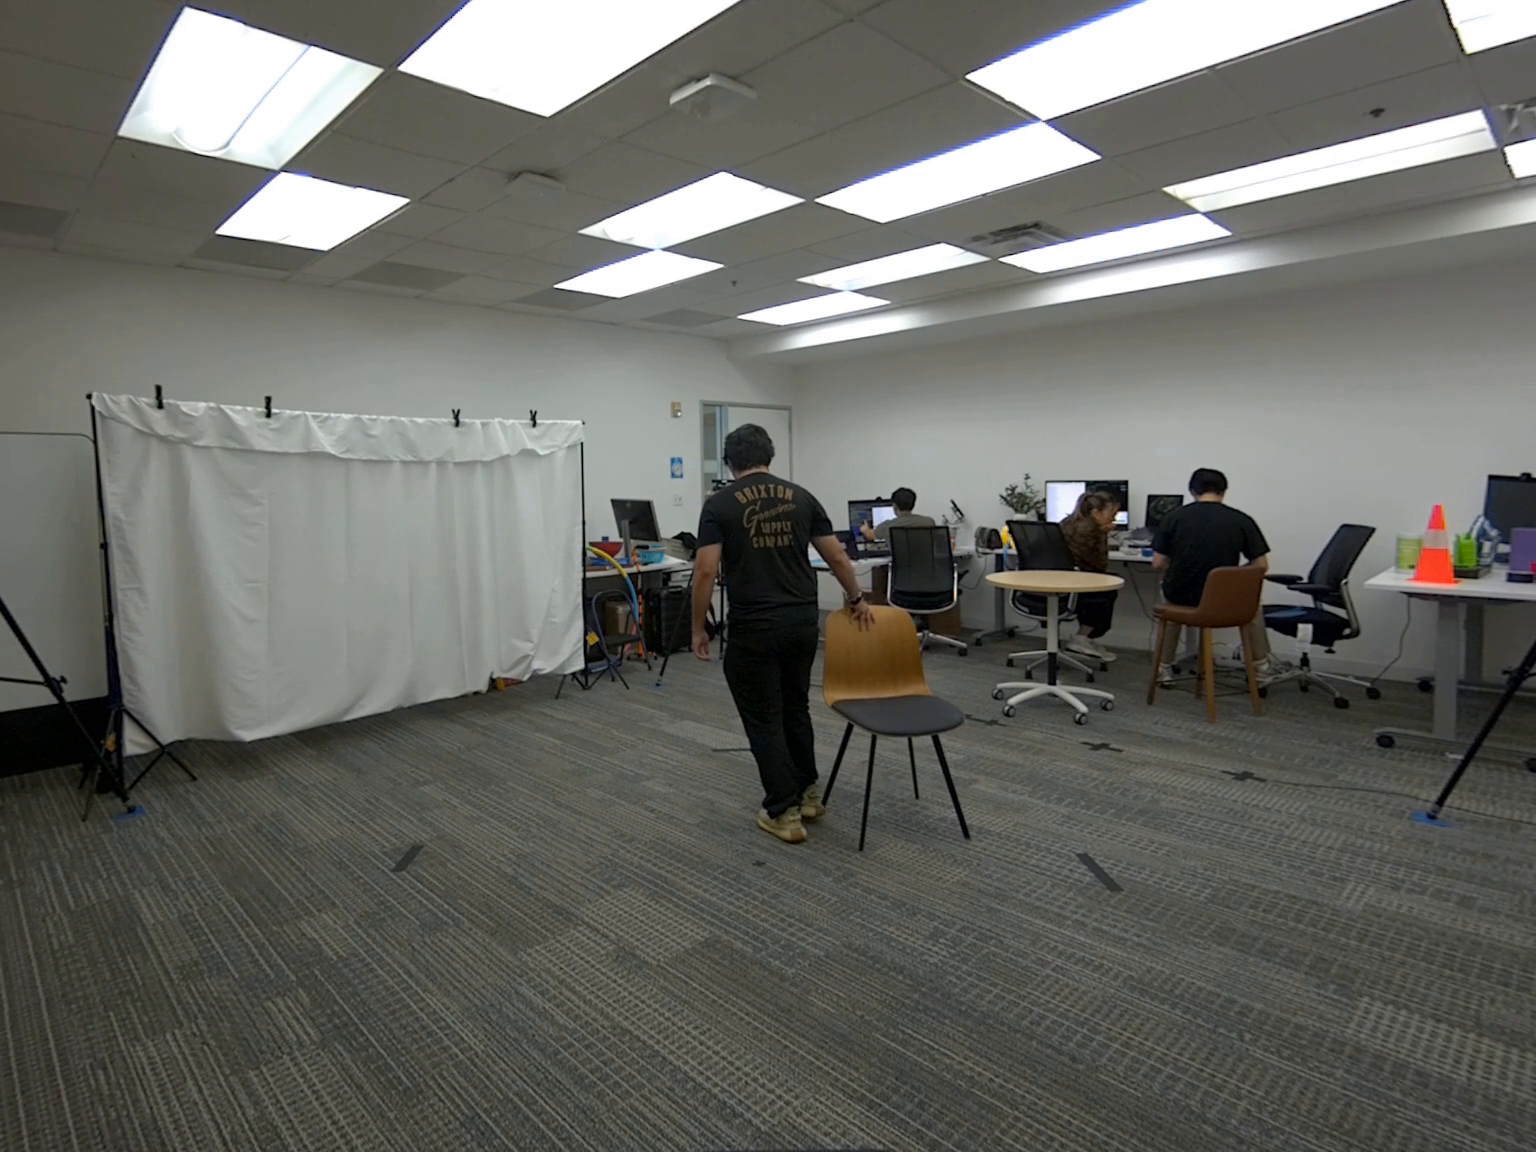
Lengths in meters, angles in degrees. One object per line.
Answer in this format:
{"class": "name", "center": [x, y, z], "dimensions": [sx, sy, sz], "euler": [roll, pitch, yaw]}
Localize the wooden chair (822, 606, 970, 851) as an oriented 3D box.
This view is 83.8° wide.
{"class": "wooden chair", "center": [0.494, 0.577, 3.423], "dimensions": [0.472, 0.877, 0.530], "euler": [-2, 0, -15]}
